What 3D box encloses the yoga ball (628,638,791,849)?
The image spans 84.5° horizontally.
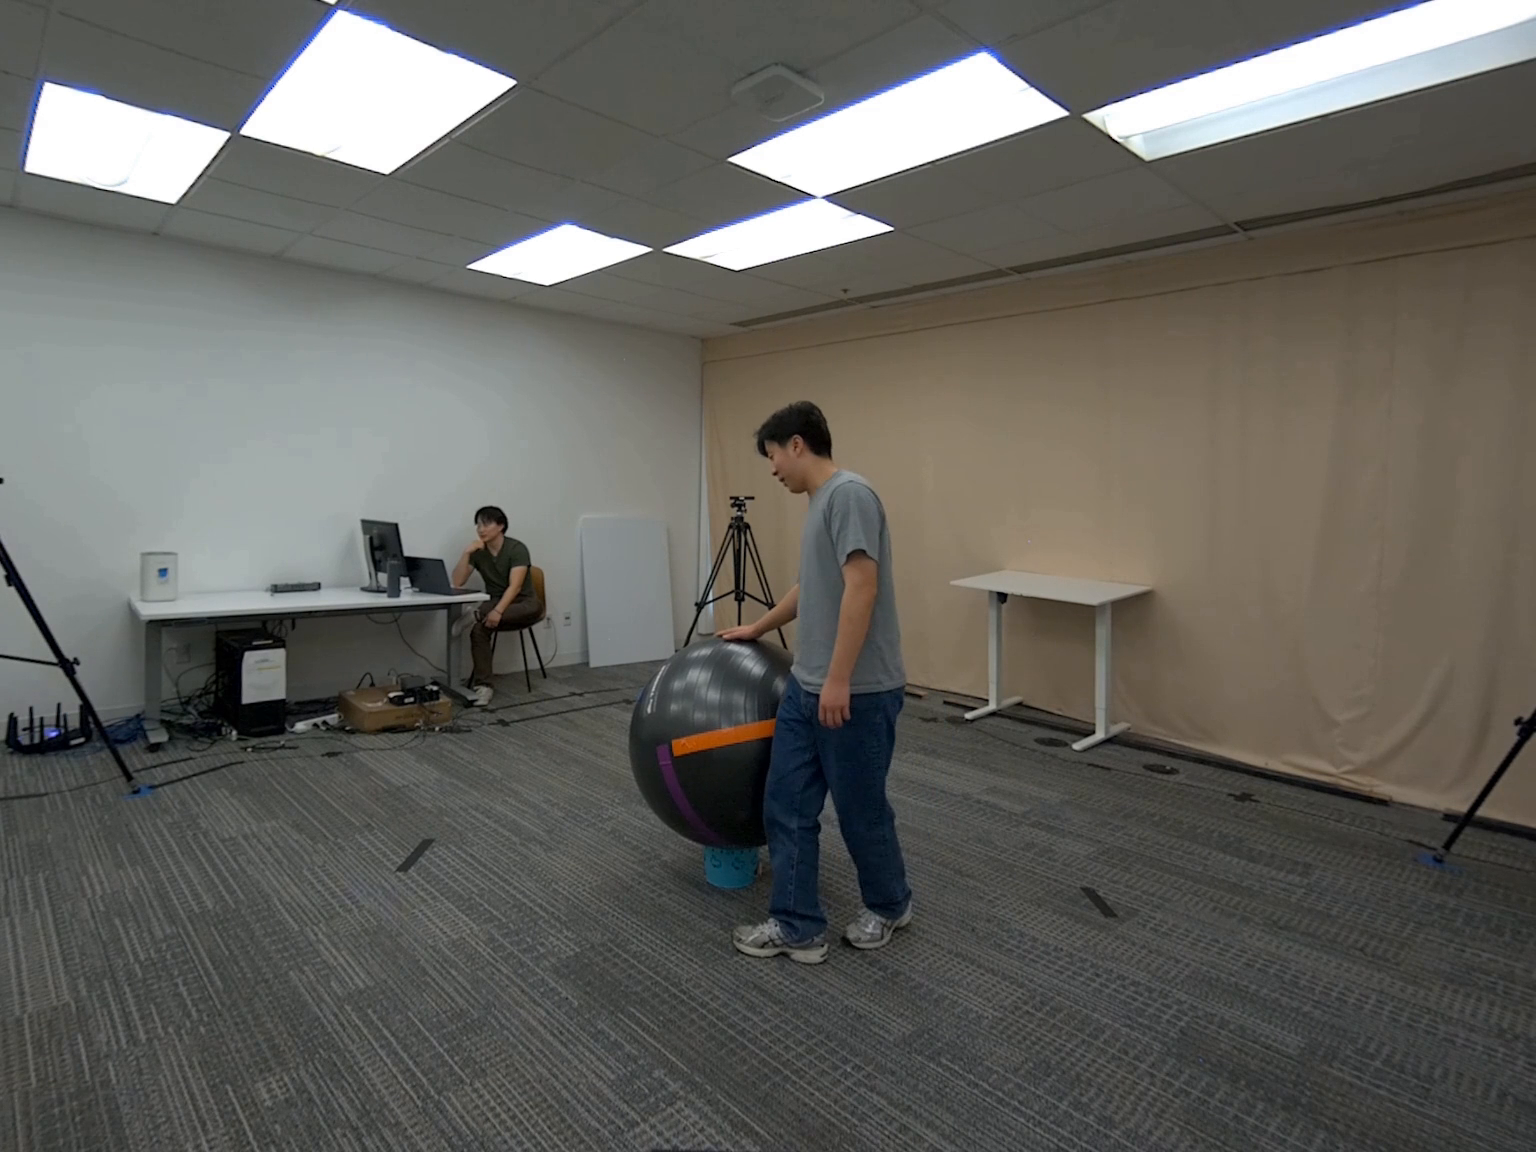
[{"bbox_3d":[-0.127,0.596,3.063,0.757,0.756,0.761,1,4,-1],"label":"yoga ball"}]
